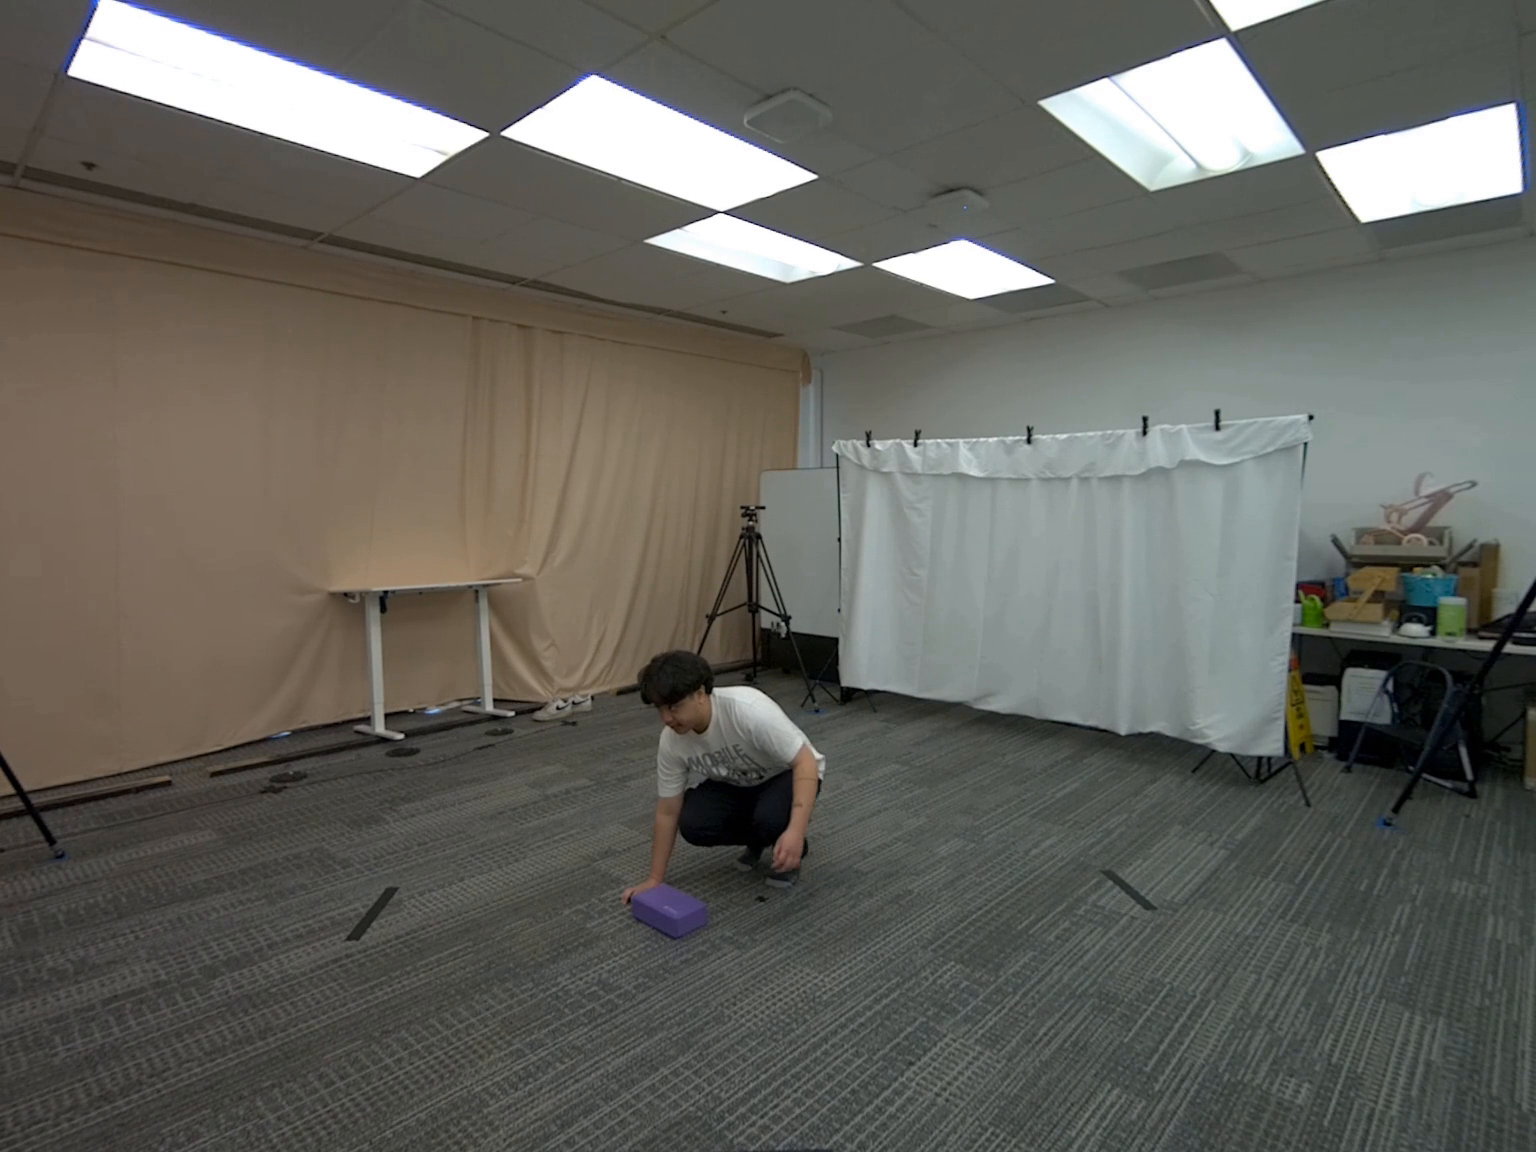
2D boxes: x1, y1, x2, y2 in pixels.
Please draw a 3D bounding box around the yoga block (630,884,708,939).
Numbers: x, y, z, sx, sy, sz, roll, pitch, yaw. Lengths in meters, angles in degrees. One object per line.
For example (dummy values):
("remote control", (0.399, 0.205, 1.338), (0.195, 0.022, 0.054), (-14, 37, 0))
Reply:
("yoga block", (-0.329, 1.116, 2.829), (0.237, 0.076, 0.144), (3, 7, 42))
